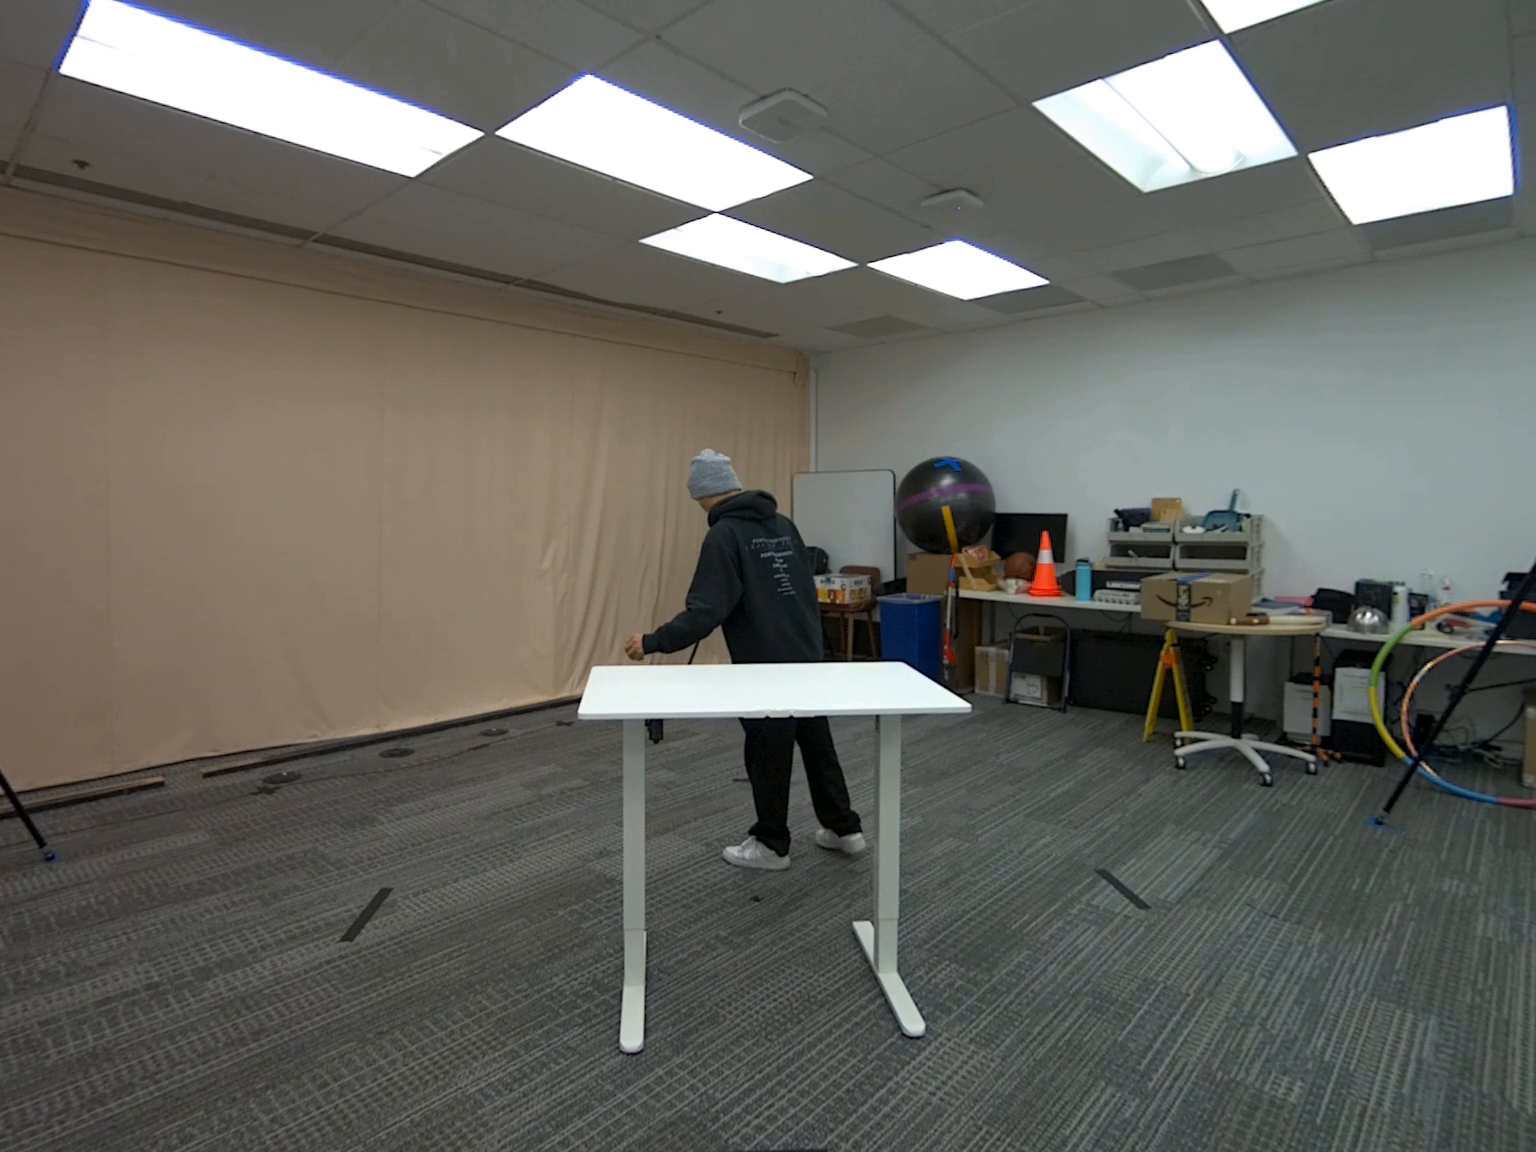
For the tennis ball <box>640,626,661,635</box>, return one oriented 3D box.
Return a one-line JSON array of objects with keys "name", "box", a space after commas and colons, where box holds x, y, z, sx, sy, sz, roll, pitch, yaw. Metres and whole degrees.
[{"name": "tennis ball", "box": [-0.428, 0.220, 3.072, 0.066, 0.066, 0.067, 0, 4, -2]}]
